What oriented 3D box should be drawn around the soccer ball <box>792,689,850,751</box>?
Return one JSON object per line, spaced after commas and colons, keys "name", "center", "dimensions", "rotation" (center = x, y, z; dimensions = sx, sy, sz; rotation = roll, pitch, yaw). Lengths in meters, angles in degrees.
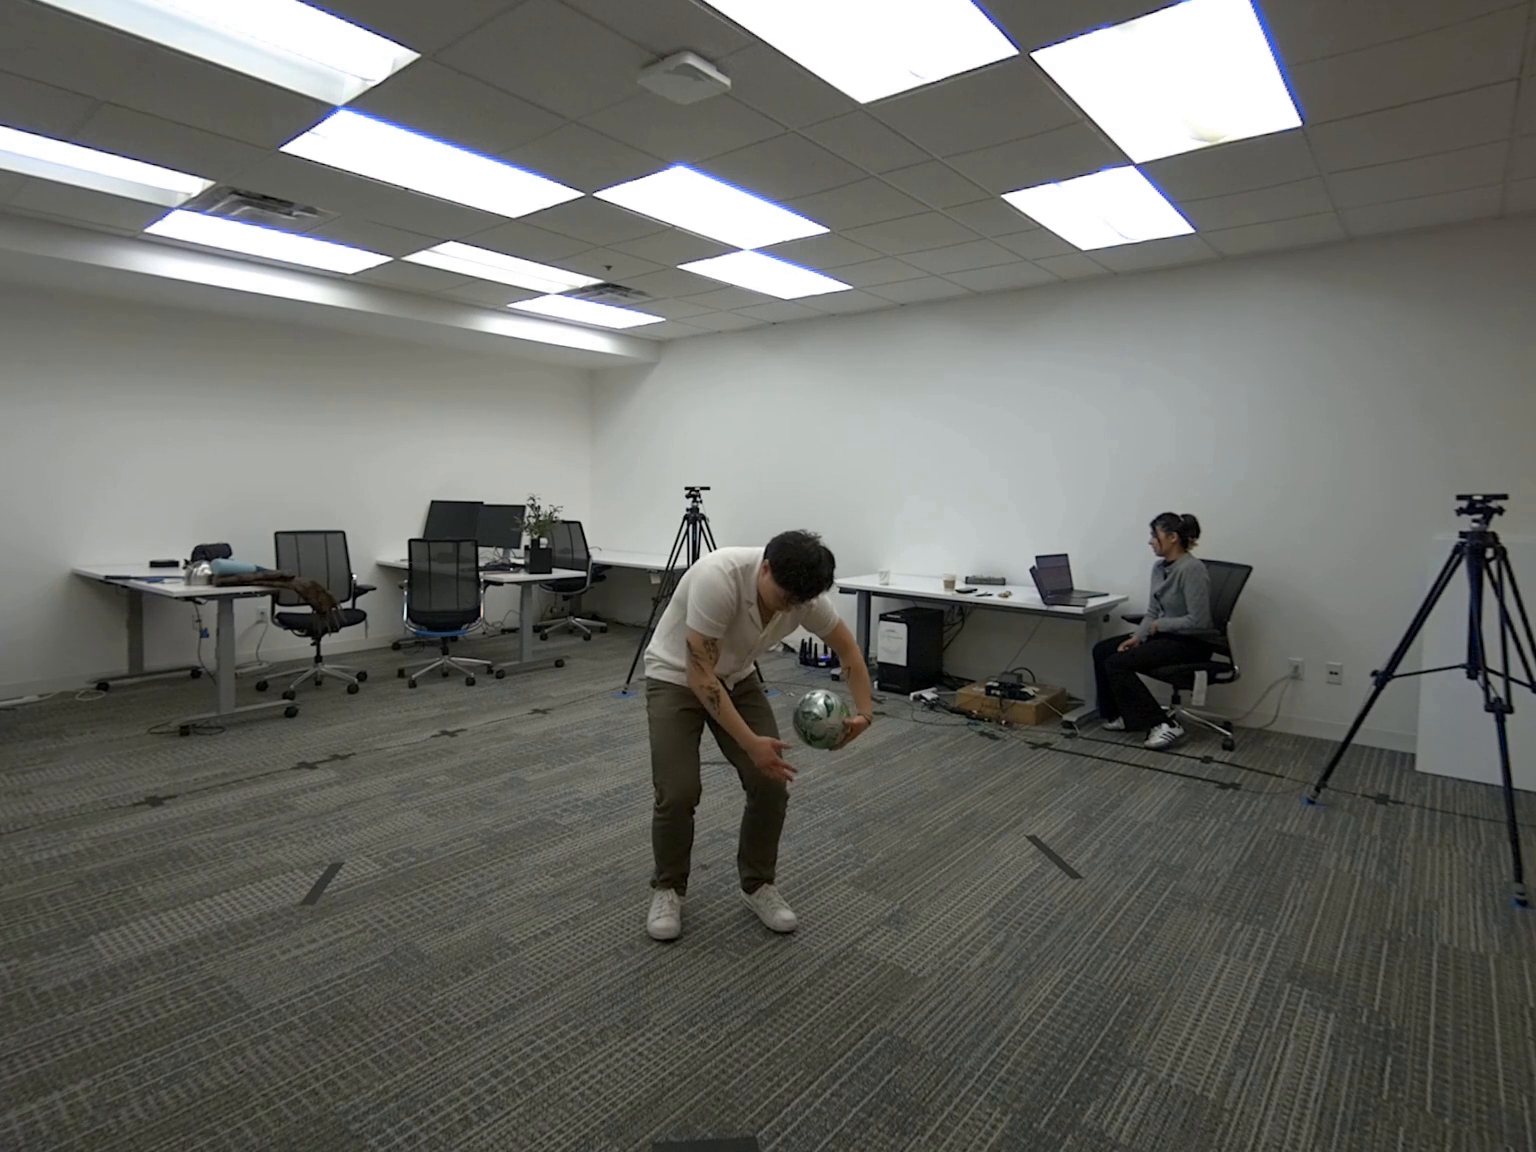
{"name": "soccer ball", "center": [0.163, 0.467, 2.753], "dimensions": [0.187, 0.187, 0.188], "rotation": [1, 4, -2]}
